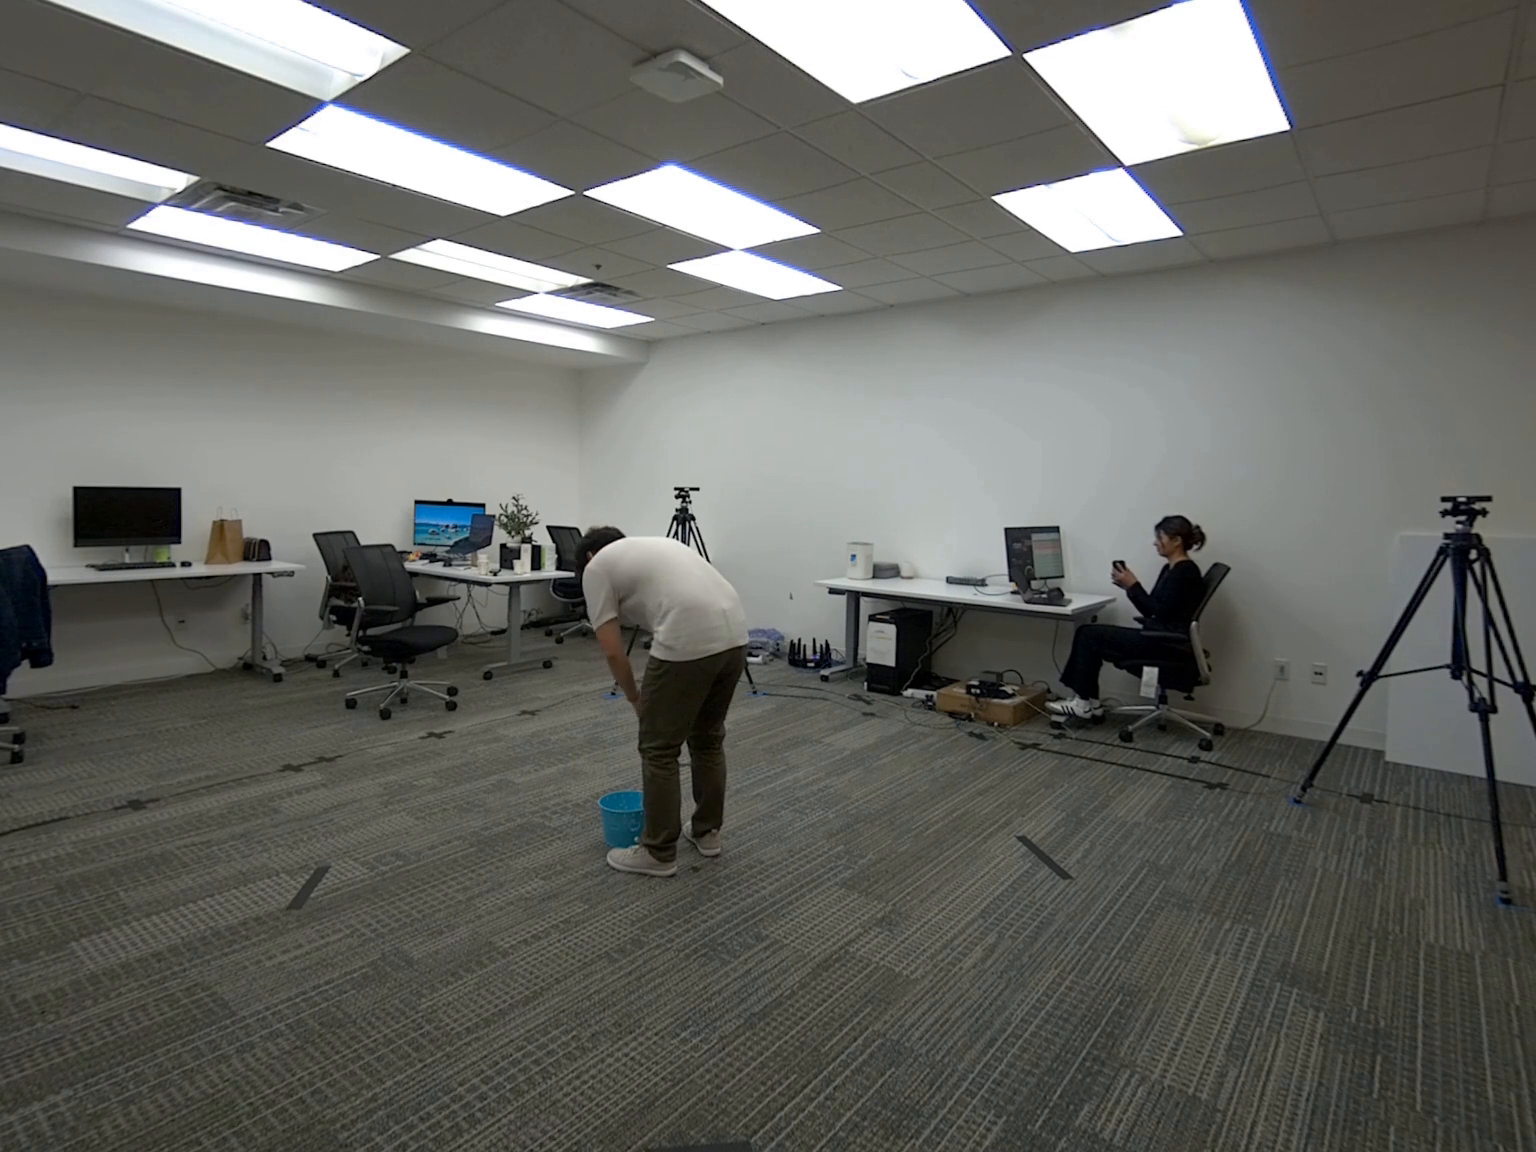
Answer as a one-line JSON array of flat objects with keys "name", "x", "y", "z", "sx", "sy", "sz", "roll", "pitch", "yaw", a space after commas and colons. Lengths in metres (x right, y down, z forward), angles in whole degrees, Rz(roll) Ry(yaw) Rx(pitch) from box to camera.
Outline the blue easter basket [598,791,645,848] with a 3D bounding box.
[{"name": "blue easter basket", "x": -0.553, "y": 0.955, "z": 3.356, "sx": 0.243, "sy": 0.155, "sz": 0.245, "roll": 1, "pitch": 5, "yaw": -2}]
